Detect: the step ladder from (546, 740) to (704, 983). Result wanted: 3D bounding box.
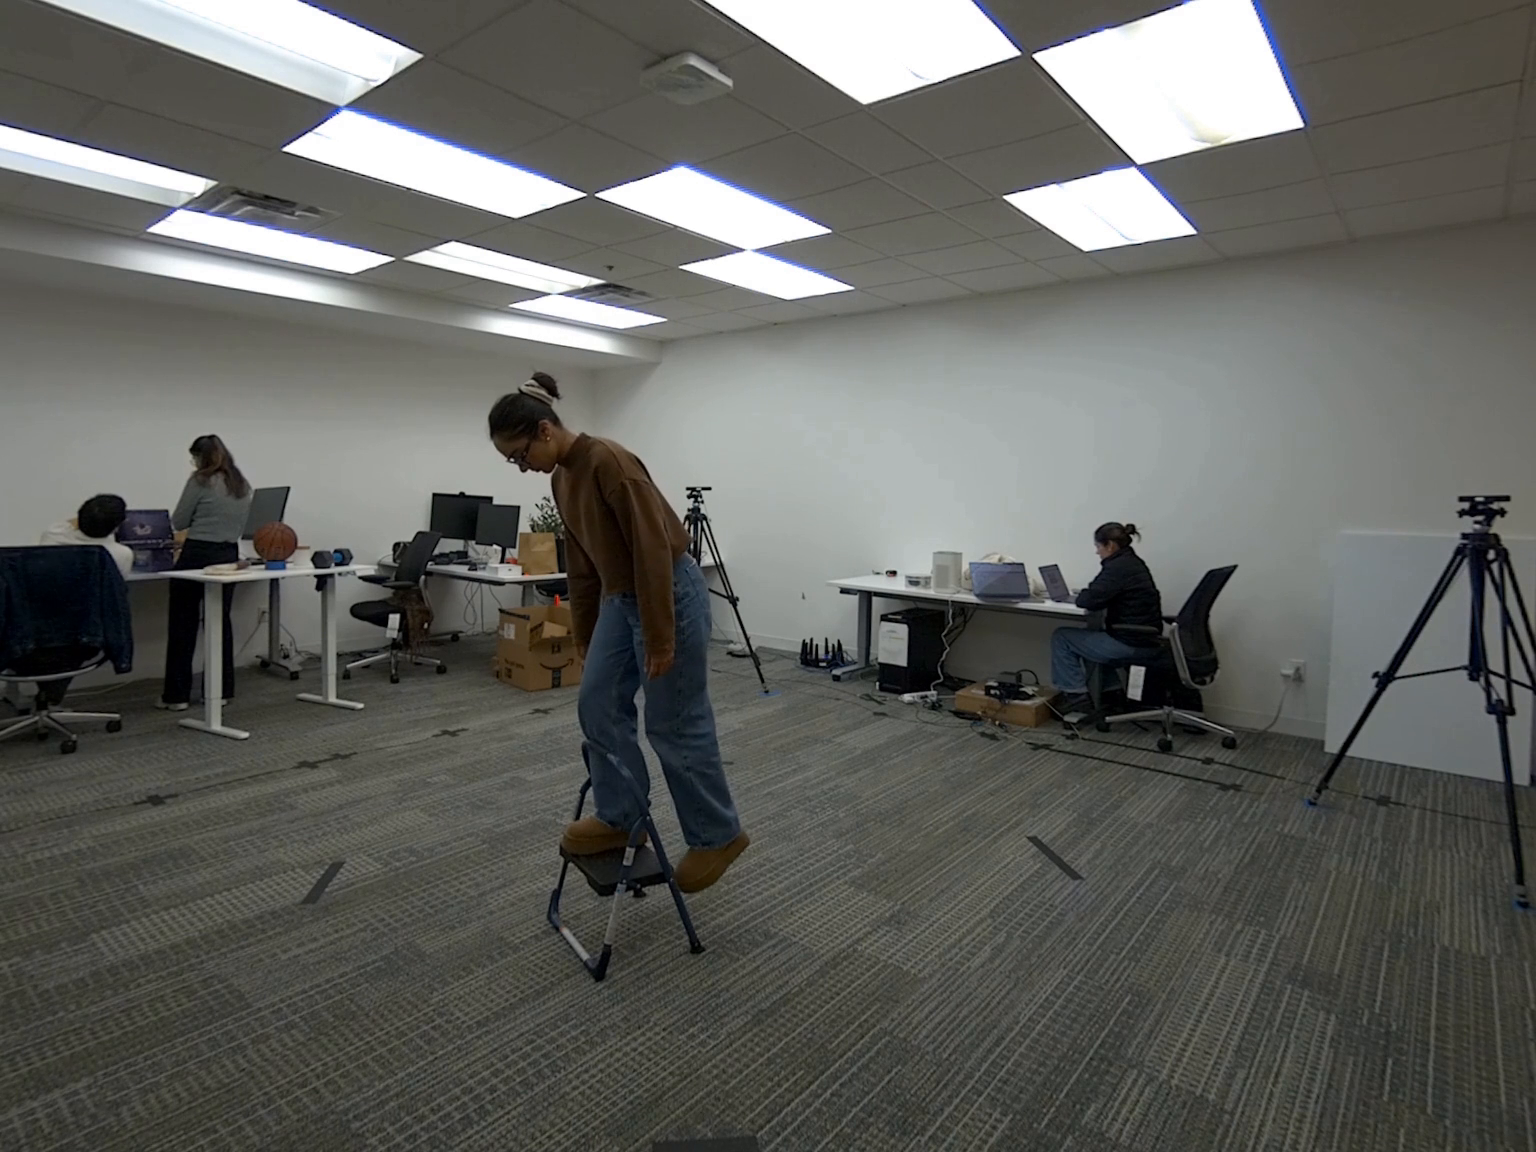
[{"bbox_3d":[-0.456,0.807,2.623,0.339,0.604,0.444,-1,5,-34],"label":"step ladder"}]
